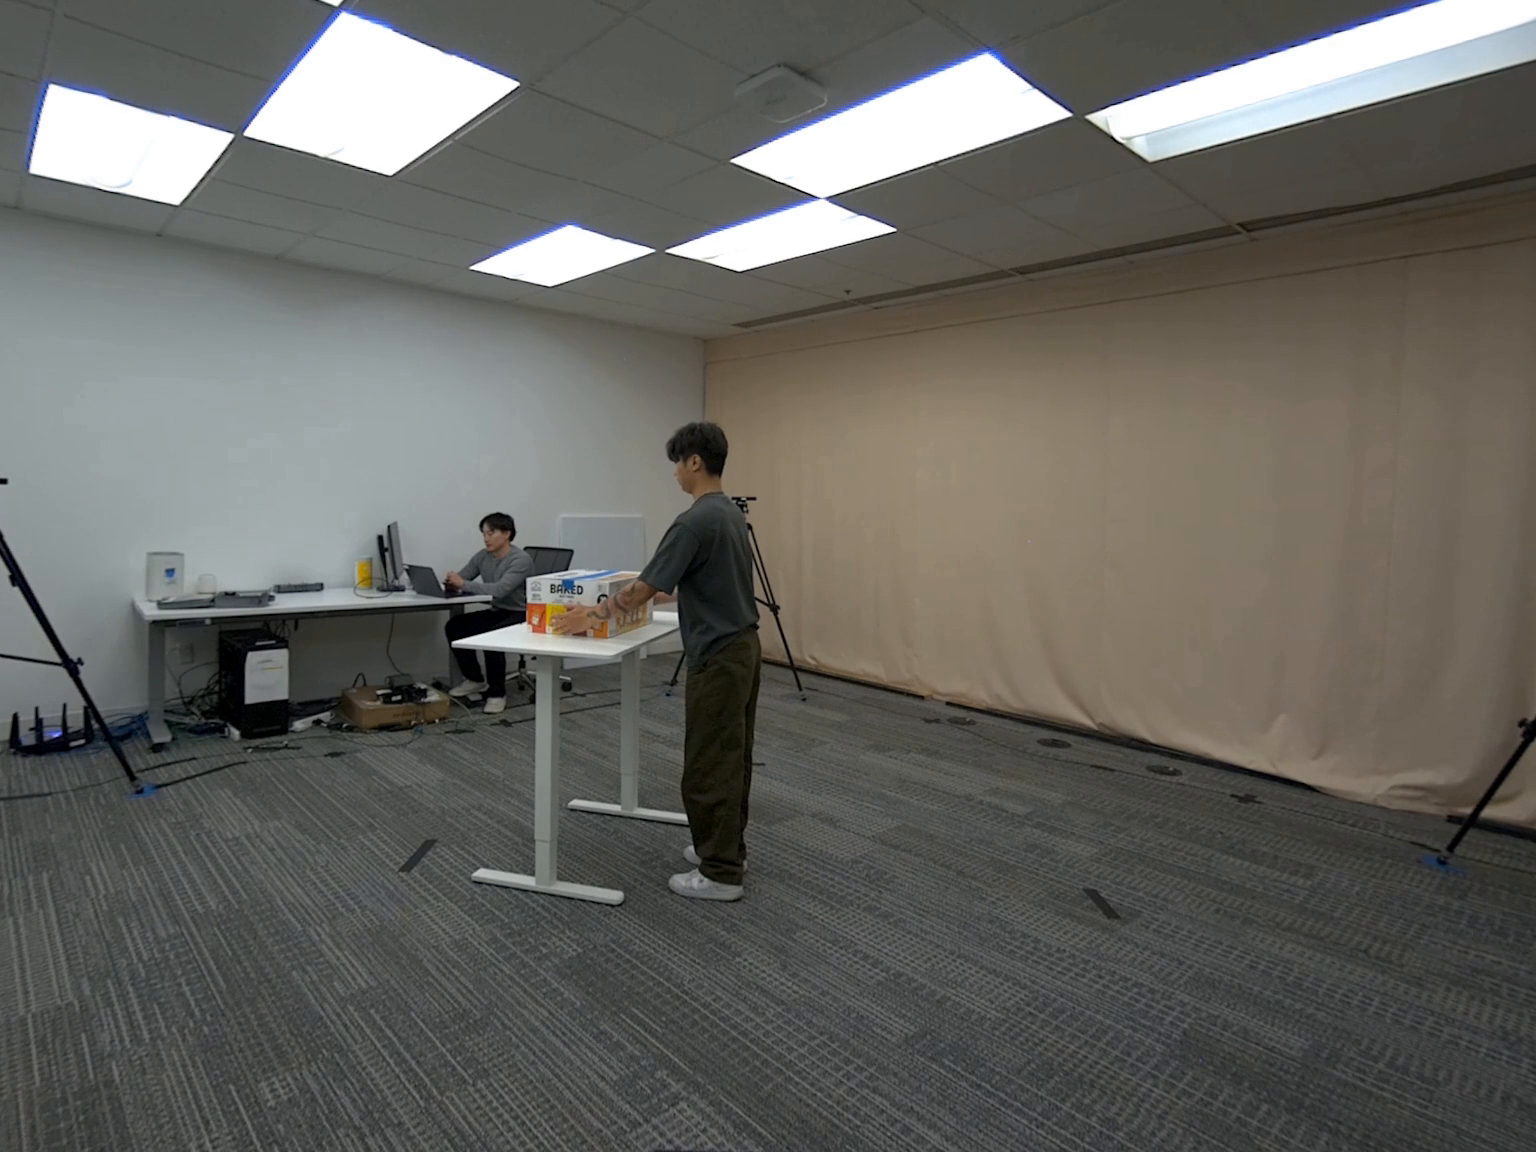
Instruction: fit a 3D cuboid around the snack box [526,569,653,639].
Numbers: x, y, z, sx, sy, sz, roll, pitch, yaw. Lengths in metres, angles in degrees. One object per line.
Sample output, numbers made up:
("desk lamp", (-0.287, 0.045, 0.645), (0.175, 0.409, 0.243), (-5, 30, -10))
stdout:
("snack box", (-0.679, 0.098, 3.251), (0.345, 0.205, 0.401), (3, 6, 17))
